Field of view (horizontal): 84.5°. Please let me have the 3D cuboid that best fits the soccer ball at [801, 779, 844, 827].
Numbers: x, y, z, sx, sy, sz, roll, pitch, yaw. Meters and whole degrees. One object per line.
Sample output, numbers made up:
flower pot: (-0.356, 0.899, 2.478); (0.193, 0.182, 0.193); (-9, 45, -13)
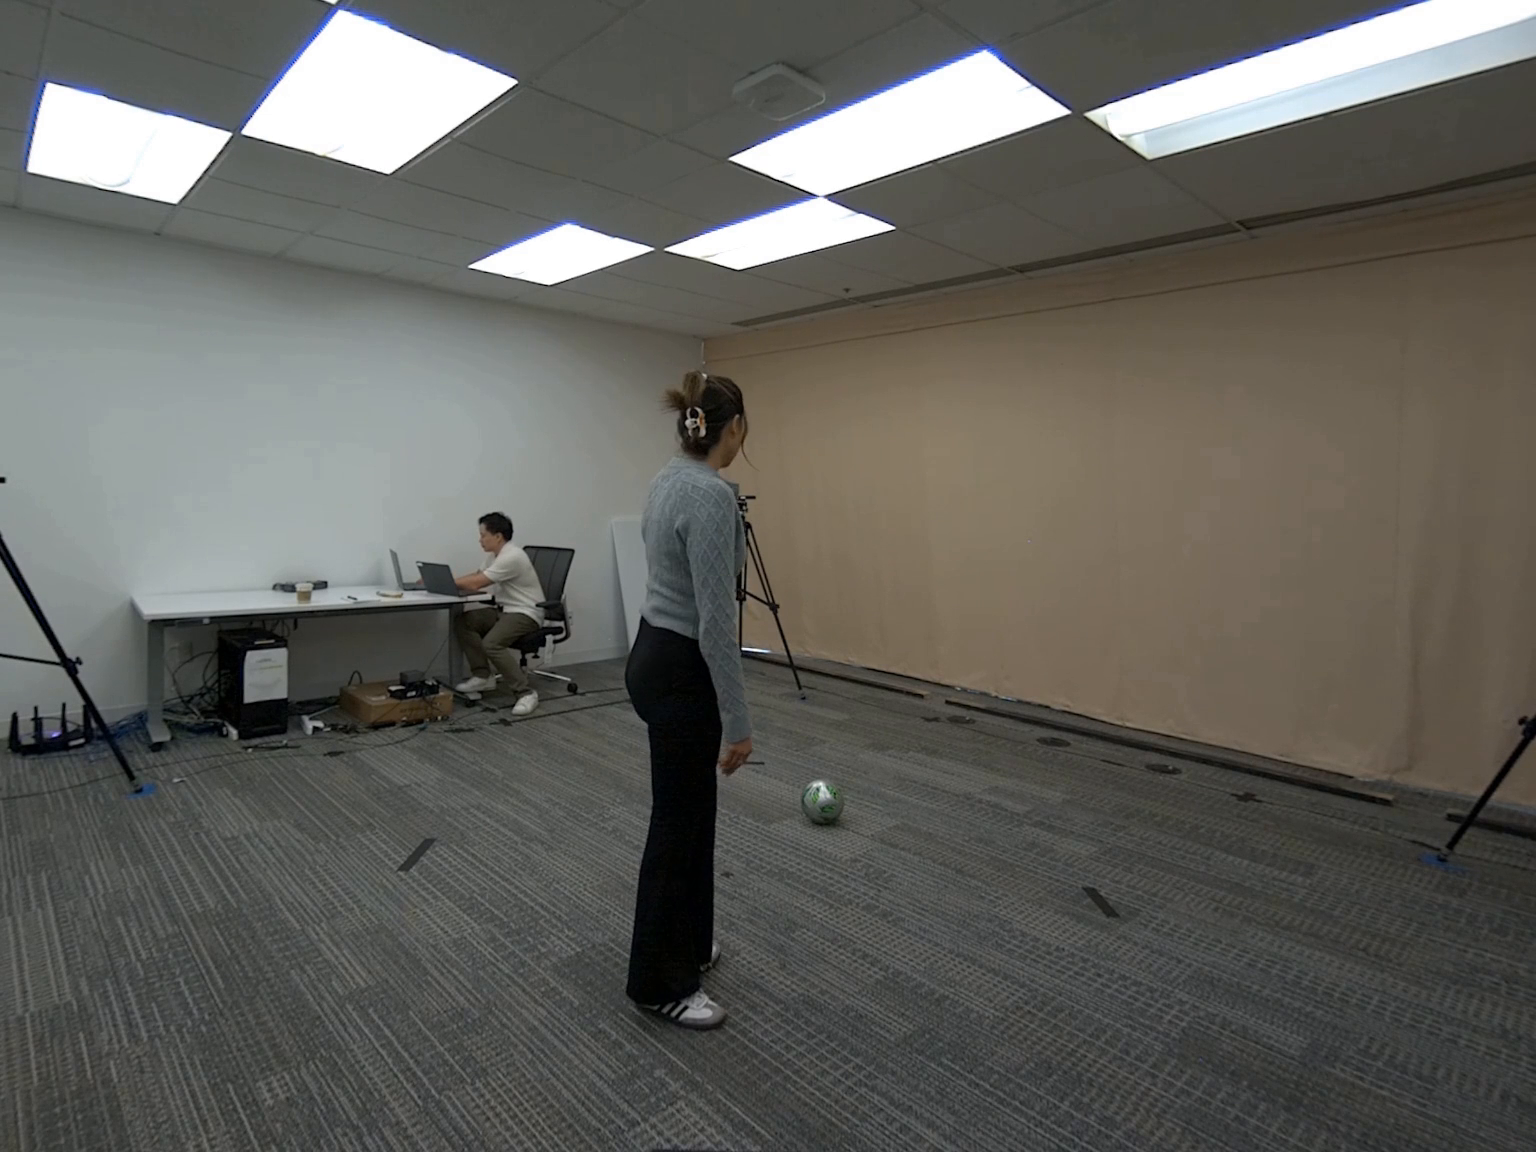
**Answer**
soccer ball: (0.222, 0.971, 3.634); (0.187, 0.187, 0.188); (1, 4, -1)
